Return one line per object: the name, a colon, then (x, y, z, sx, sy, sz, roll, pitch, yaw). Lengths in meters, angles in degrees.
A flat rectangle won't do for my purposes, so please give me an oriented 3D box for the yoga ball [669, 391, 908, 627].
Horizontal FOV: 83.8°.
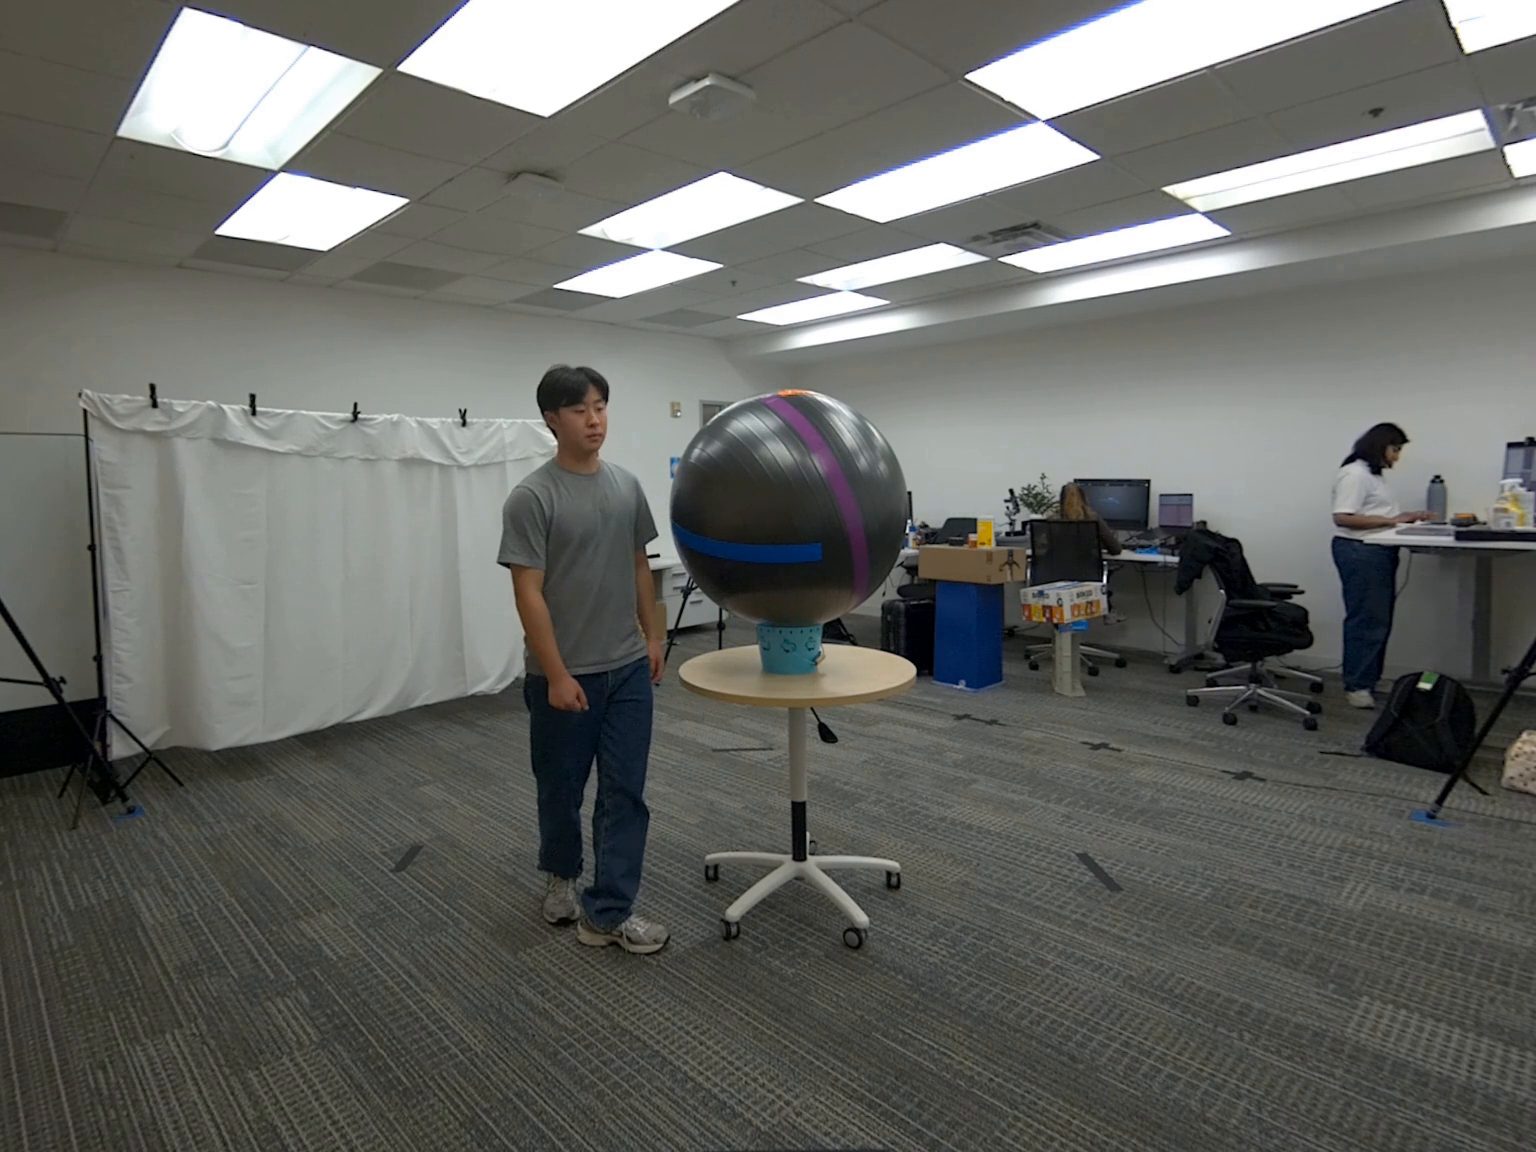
yoga ball: (0.066, -0.209, 2.740, 0.757, 0.755, 0.762, -1, 5, -2)
